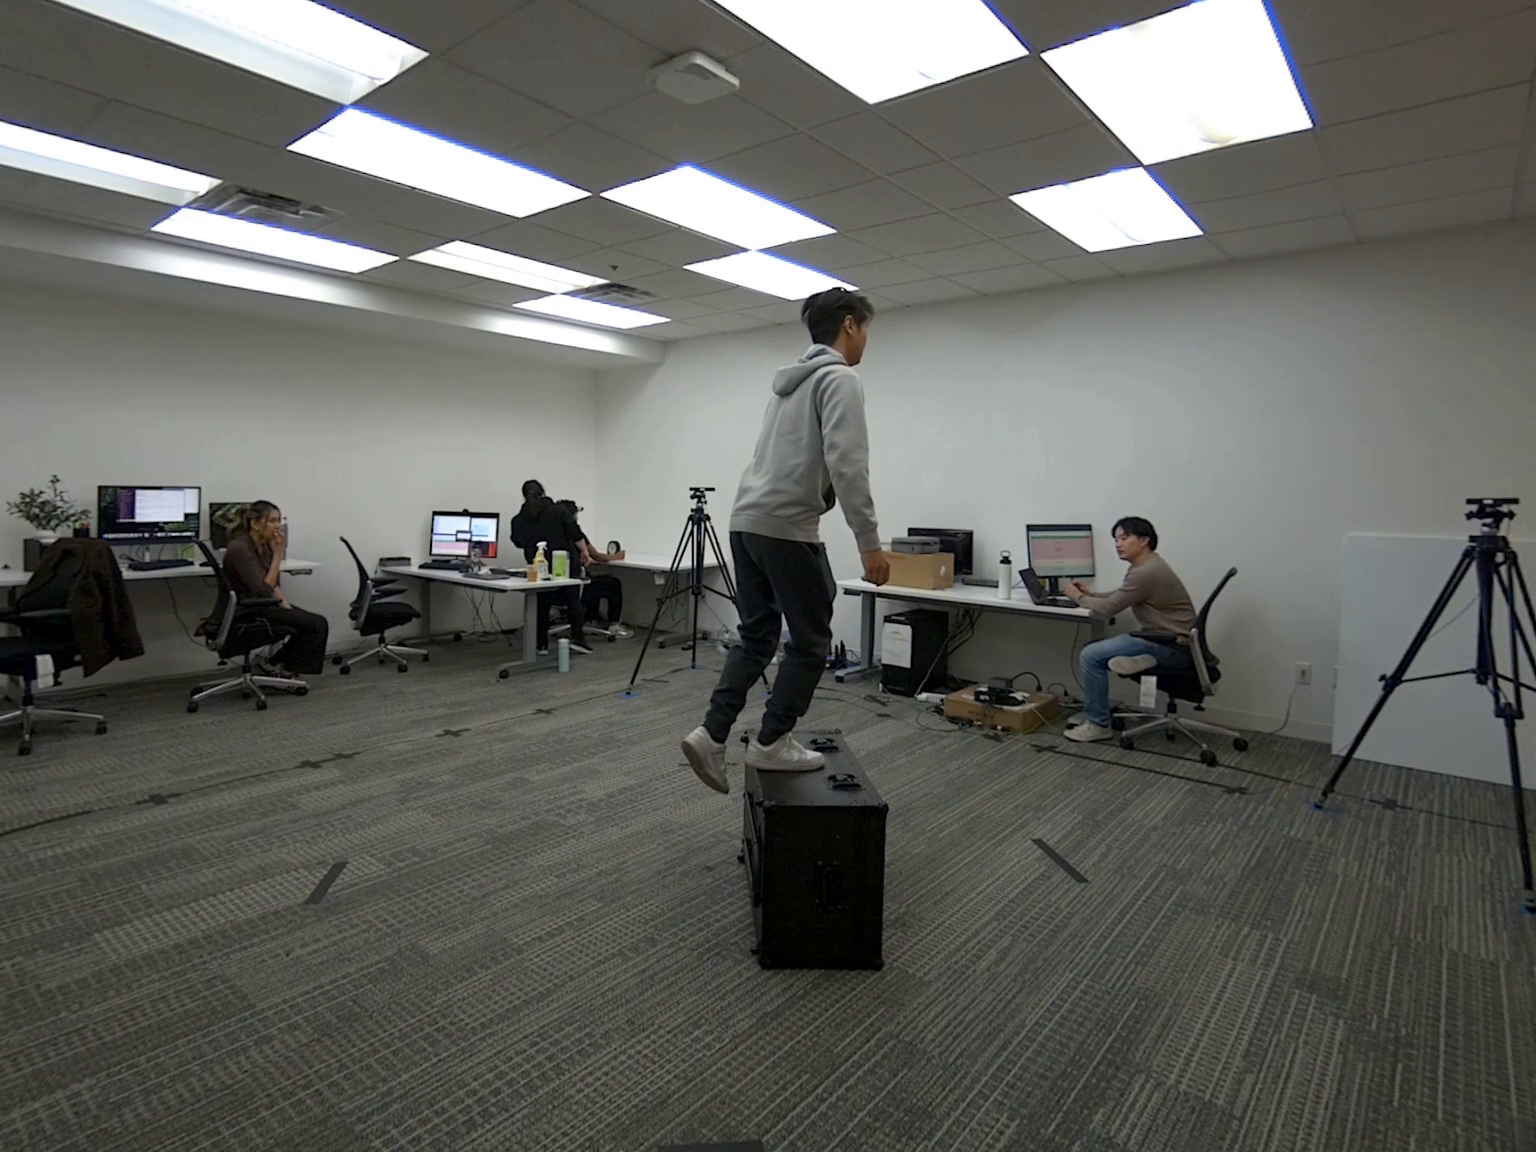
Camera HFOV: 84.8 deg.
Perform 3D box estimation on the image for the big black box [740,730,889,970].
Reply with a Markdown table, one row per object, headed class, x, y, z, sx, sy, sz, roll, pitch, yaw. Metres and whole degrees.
| class | x | y | z | sx | sy | sz | roll | pitch | yaw |
| --- | --- | --- | --- | --- | --- | --- | --- | --- | --- |
| big black box | 0.101 | 0.855 | 2.870 | 0.395 | 0.519 | 0.868 | 1 | 5 | -5 |
